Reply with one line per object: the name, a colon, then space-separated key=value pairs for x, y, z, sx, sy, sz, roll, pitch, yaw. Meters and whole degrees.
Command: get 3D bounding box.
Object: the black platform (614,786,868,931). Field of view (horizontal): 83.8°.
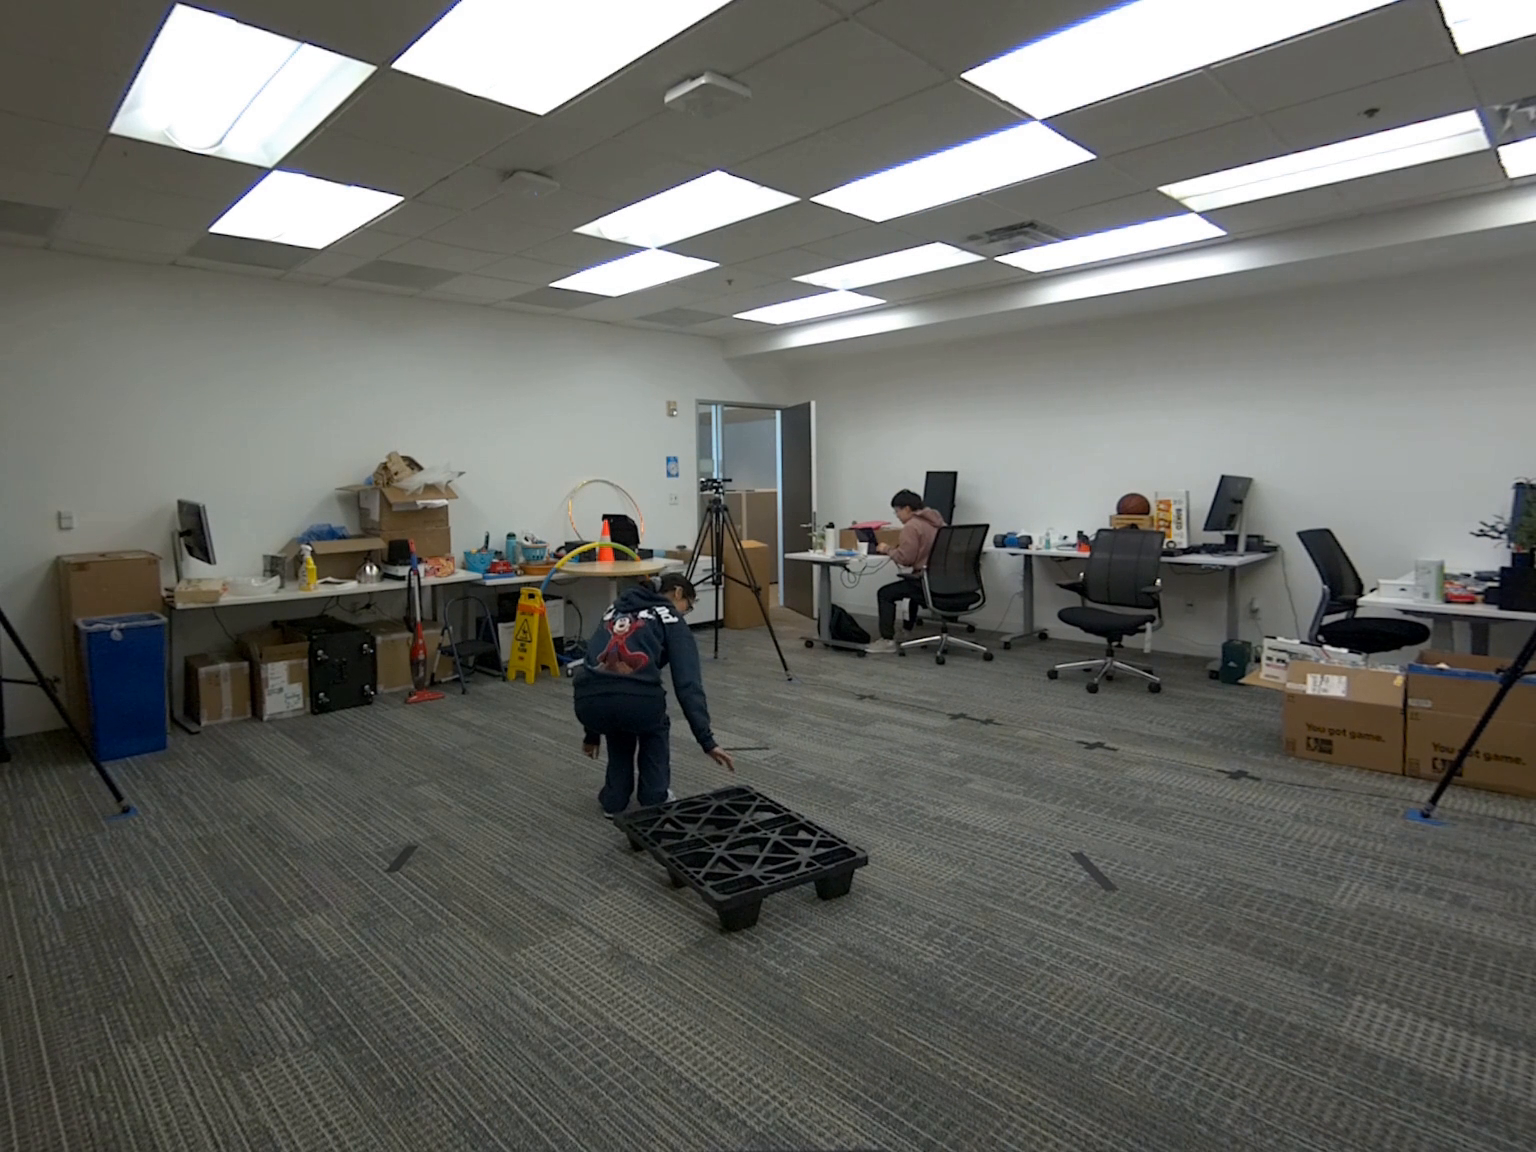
black platform: x=-0.121 y=0.986 z=3.050 sx=0.591 sy=0.142 sz=0.829 roll=-6 pitch=8 yaw=-32
